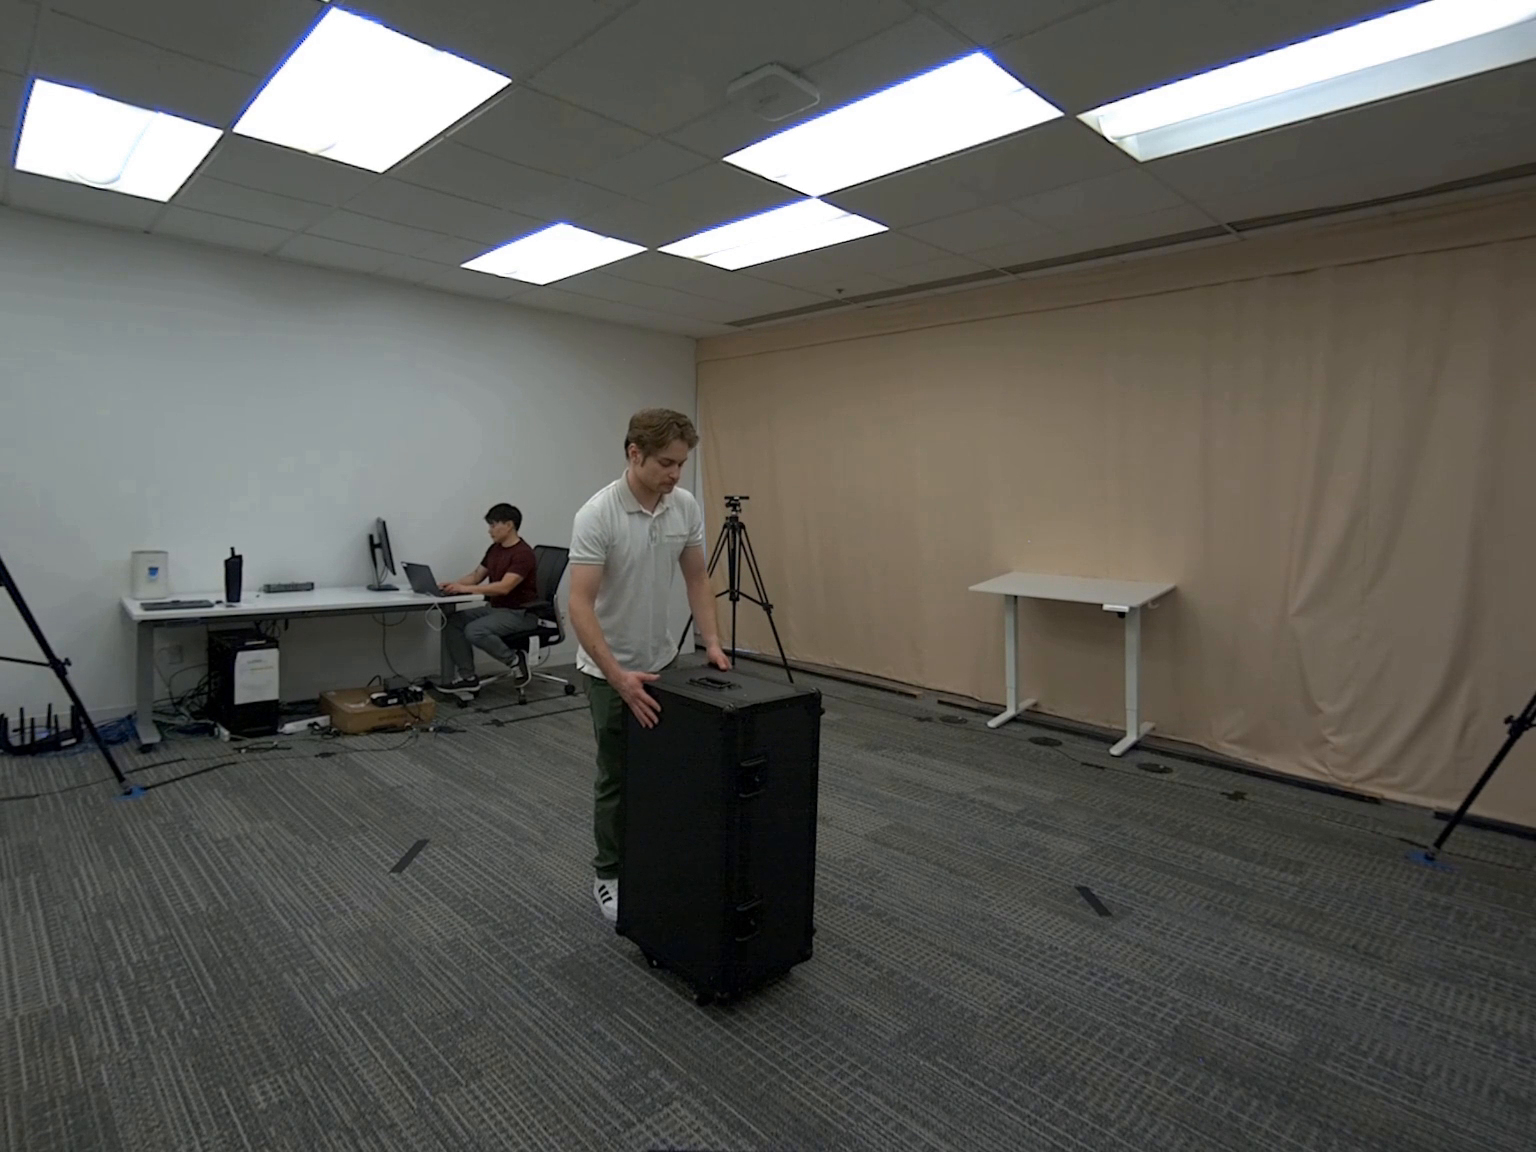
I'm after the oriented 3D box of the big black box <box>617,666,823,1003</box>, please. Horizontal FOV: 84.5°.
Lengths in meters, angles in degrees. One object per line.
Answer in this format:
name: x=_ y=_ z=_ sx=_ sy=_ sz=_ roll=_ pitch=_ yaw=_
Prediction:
big black box: x=-0.156 y=0.744 z=2.463 sx=0.376 sy=0.866 sz=0.537 roll=-1 pitch=4 yaw=-44
